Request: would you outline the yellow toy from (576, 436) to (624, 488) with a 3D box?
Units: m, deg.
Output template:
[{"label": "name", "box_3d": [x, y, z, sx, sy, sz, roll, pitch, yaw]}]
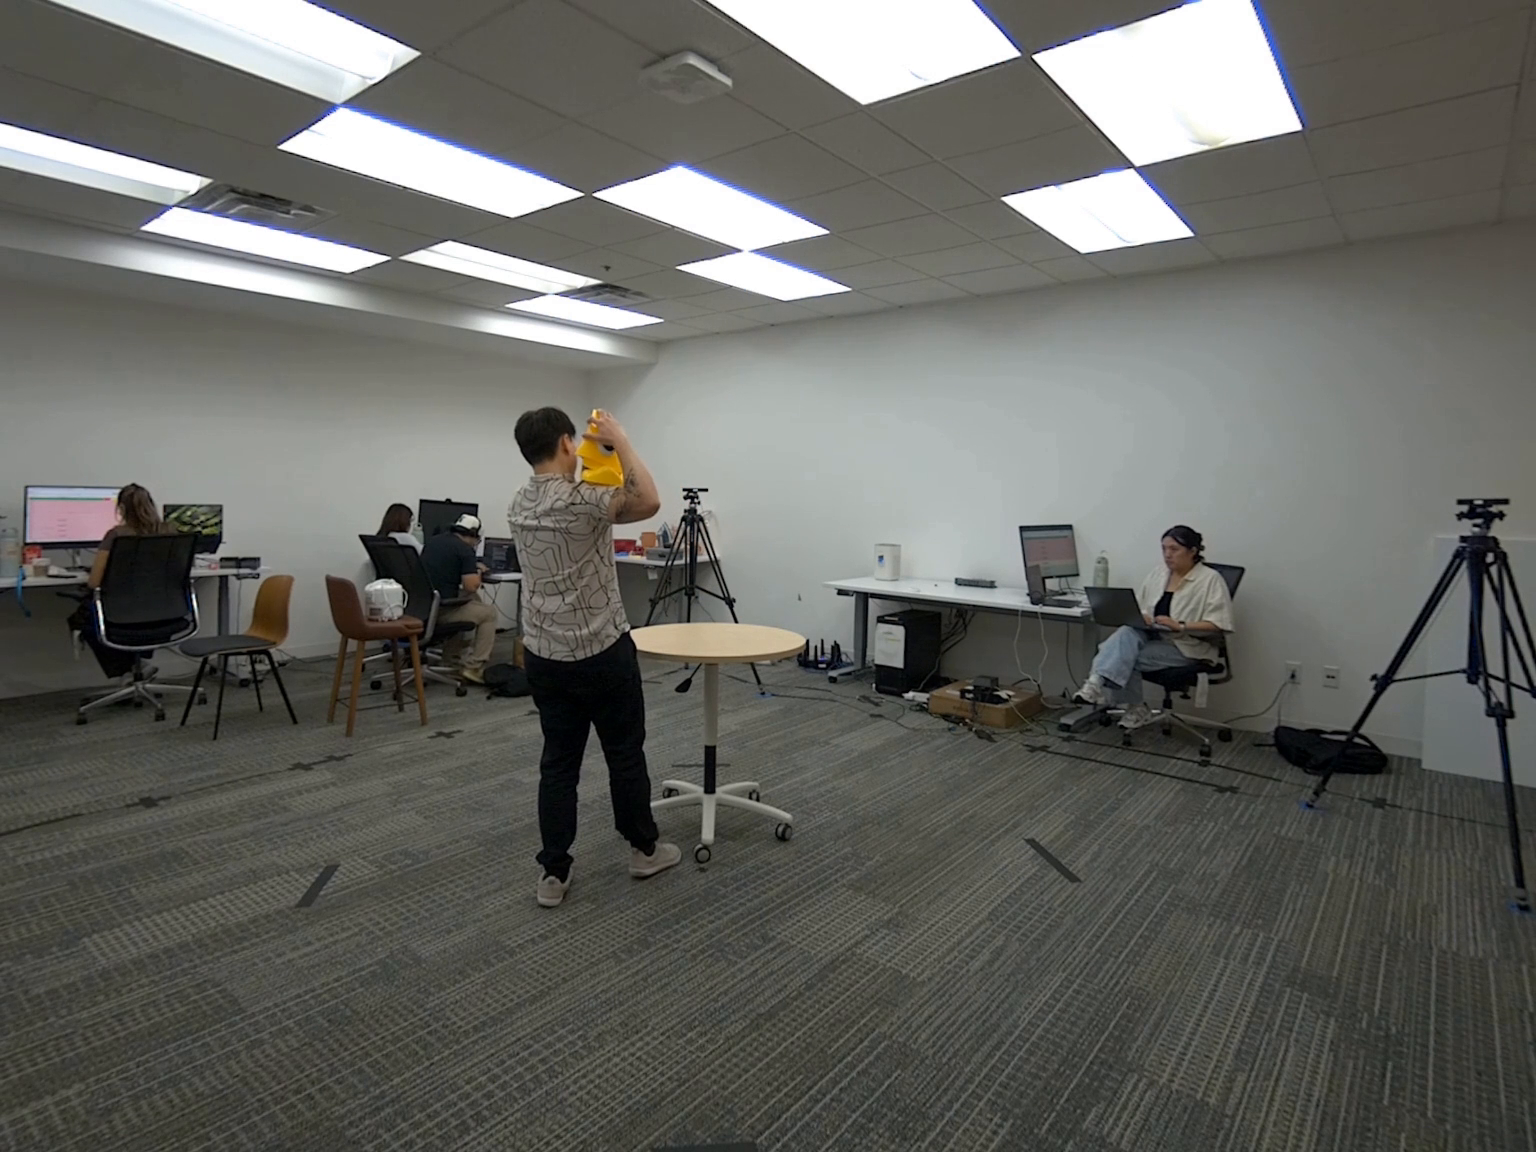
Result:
[{"label": "yellow toy", "box_3d": [-0.538, -0.426, 2.815, 0.193, 0.230, 0.206, 9, 6, -2]}]
